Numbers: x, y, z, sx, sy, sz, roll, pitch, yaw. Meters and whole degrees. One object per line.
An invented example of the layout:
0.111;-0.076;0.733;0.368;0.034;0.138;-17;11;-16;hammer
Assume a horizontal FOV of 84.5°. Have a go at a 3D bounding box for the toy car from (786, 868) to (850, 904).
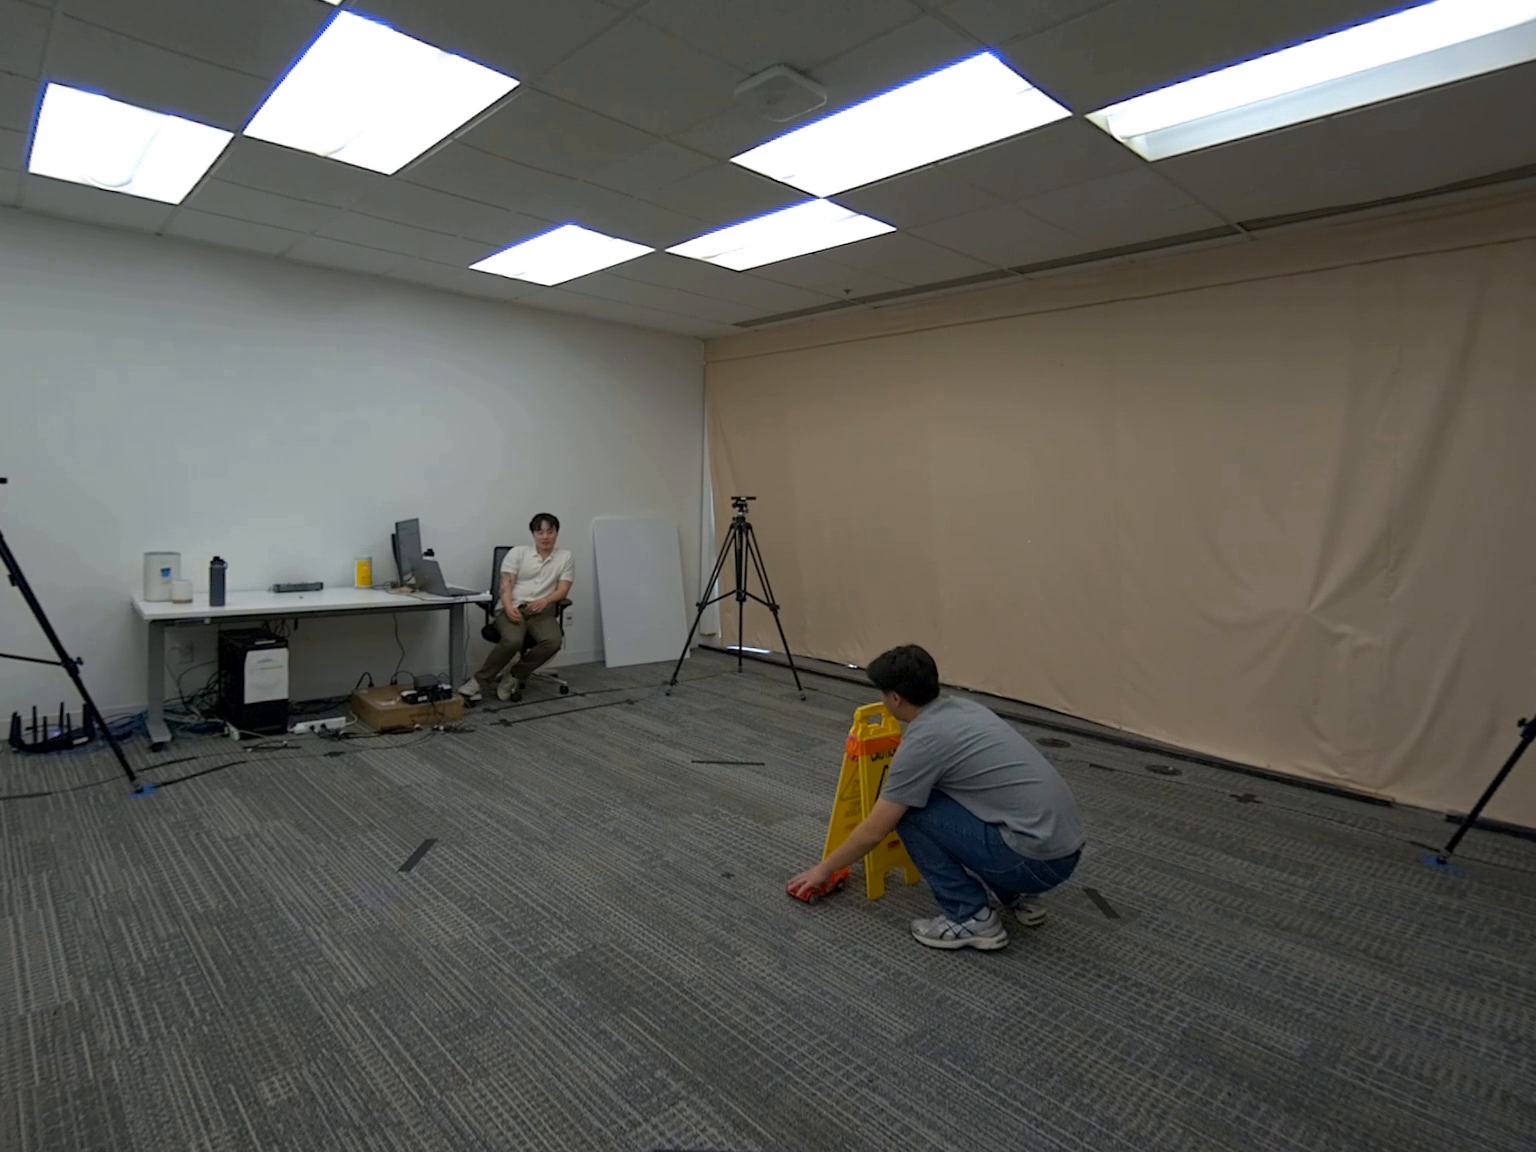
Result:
0.179;1.091;2.988;0.250;0.082;0.133;-19;17;-41;toy car
